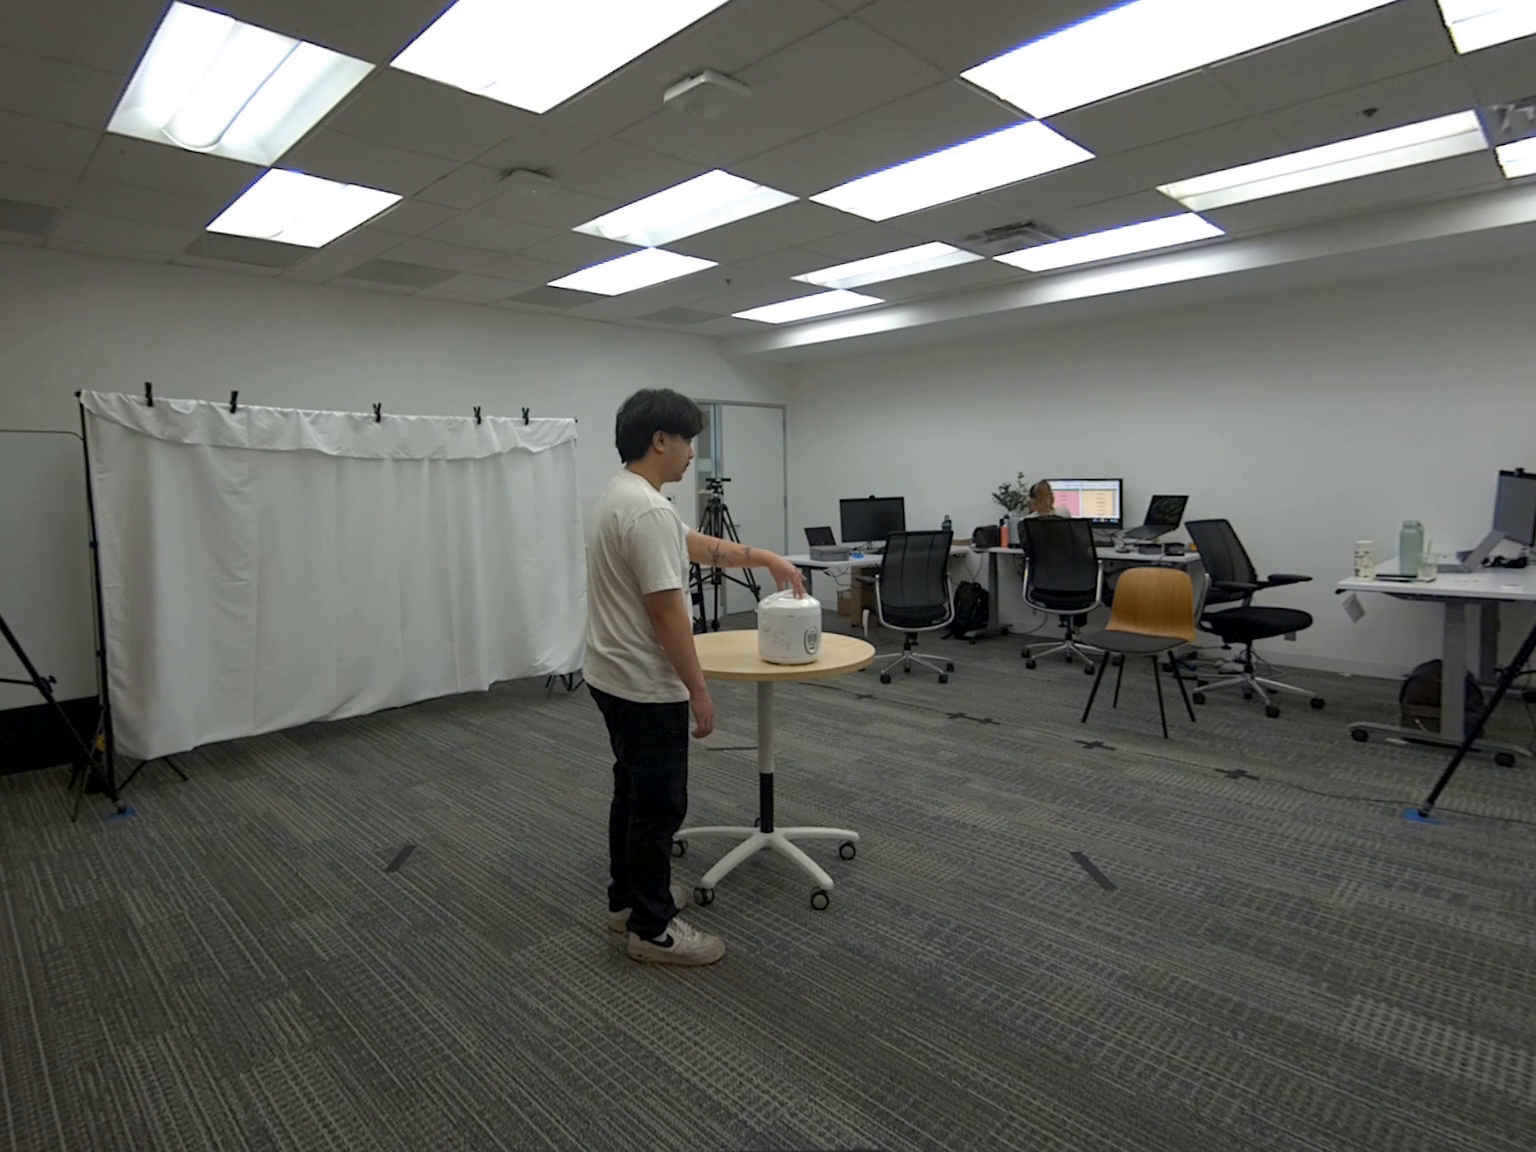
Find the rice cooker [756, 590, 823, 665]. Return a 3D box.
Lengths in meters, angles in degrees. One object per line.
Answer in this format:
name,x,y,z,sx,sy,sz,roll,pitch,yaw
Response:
rice cooker,0.076,0.162,2.803,0.215,0.232,0.224,-4,5,-39
